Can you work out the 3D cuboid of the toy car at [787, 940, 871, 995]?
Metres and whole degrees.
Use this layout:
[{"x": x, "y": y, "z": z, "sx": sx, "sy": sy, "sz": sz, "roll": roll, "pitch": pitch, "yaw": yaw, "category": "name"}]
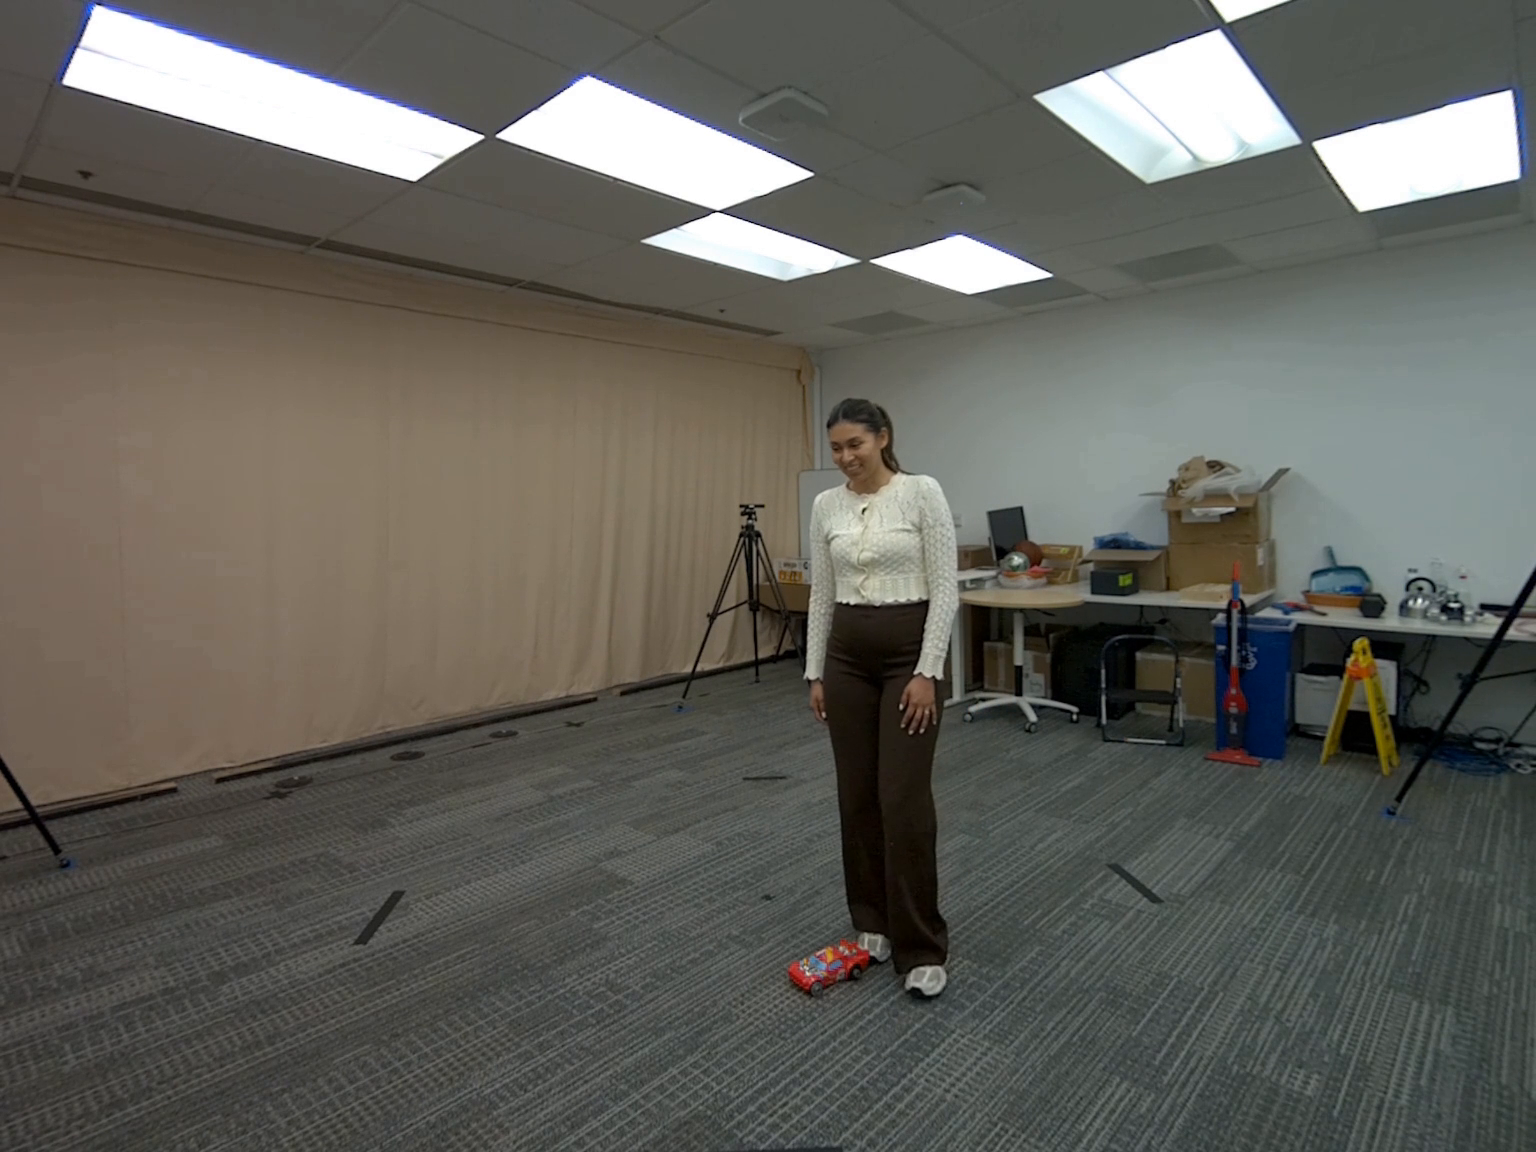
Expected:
[{"x": 0.191, "y": 1.154, "z": 2.471, "sx": 0.249, "sy": 0.082, "sz": 0.134, "roll": -15, "pitch": 12, "yaw": -28, "category": "toy car"}]
